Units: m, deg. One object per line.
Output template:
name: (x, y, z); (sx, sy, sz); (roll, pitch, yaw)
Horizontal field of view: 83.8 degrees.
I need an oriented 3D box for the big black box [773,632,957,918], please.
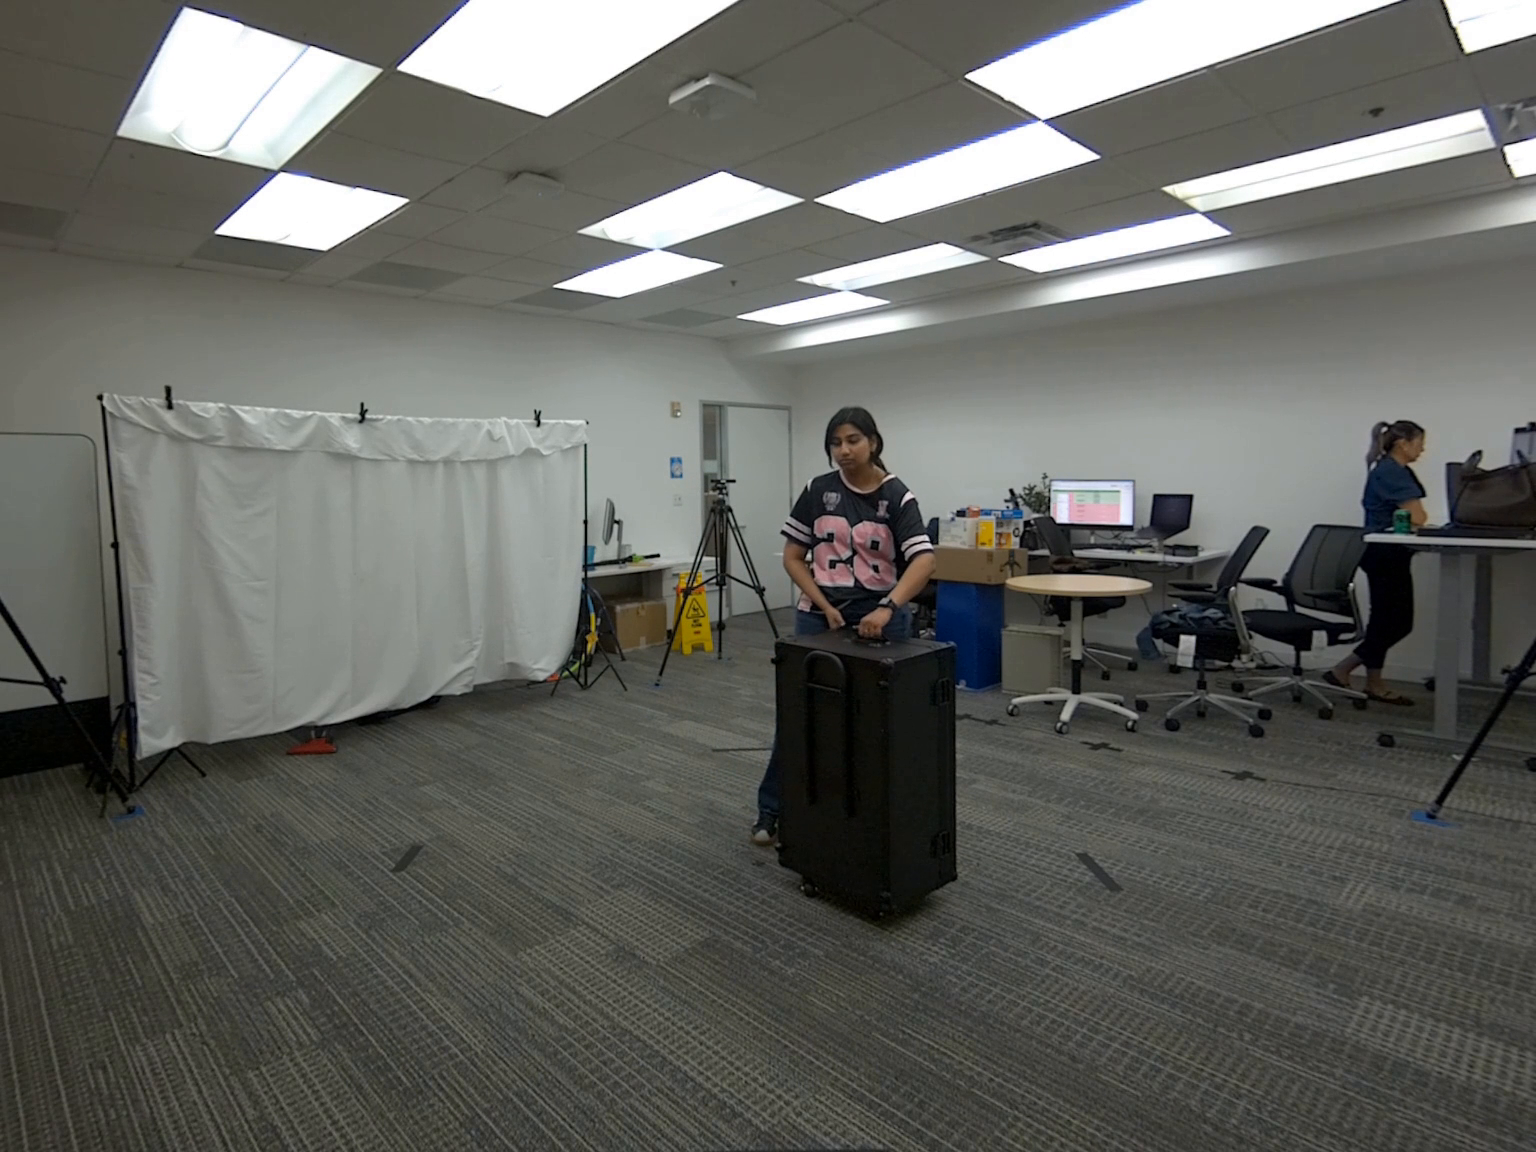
big black box: (0.330, 0.651, 2.840); (0.375, 0.865, 0.539); (-5, 6, -43)
